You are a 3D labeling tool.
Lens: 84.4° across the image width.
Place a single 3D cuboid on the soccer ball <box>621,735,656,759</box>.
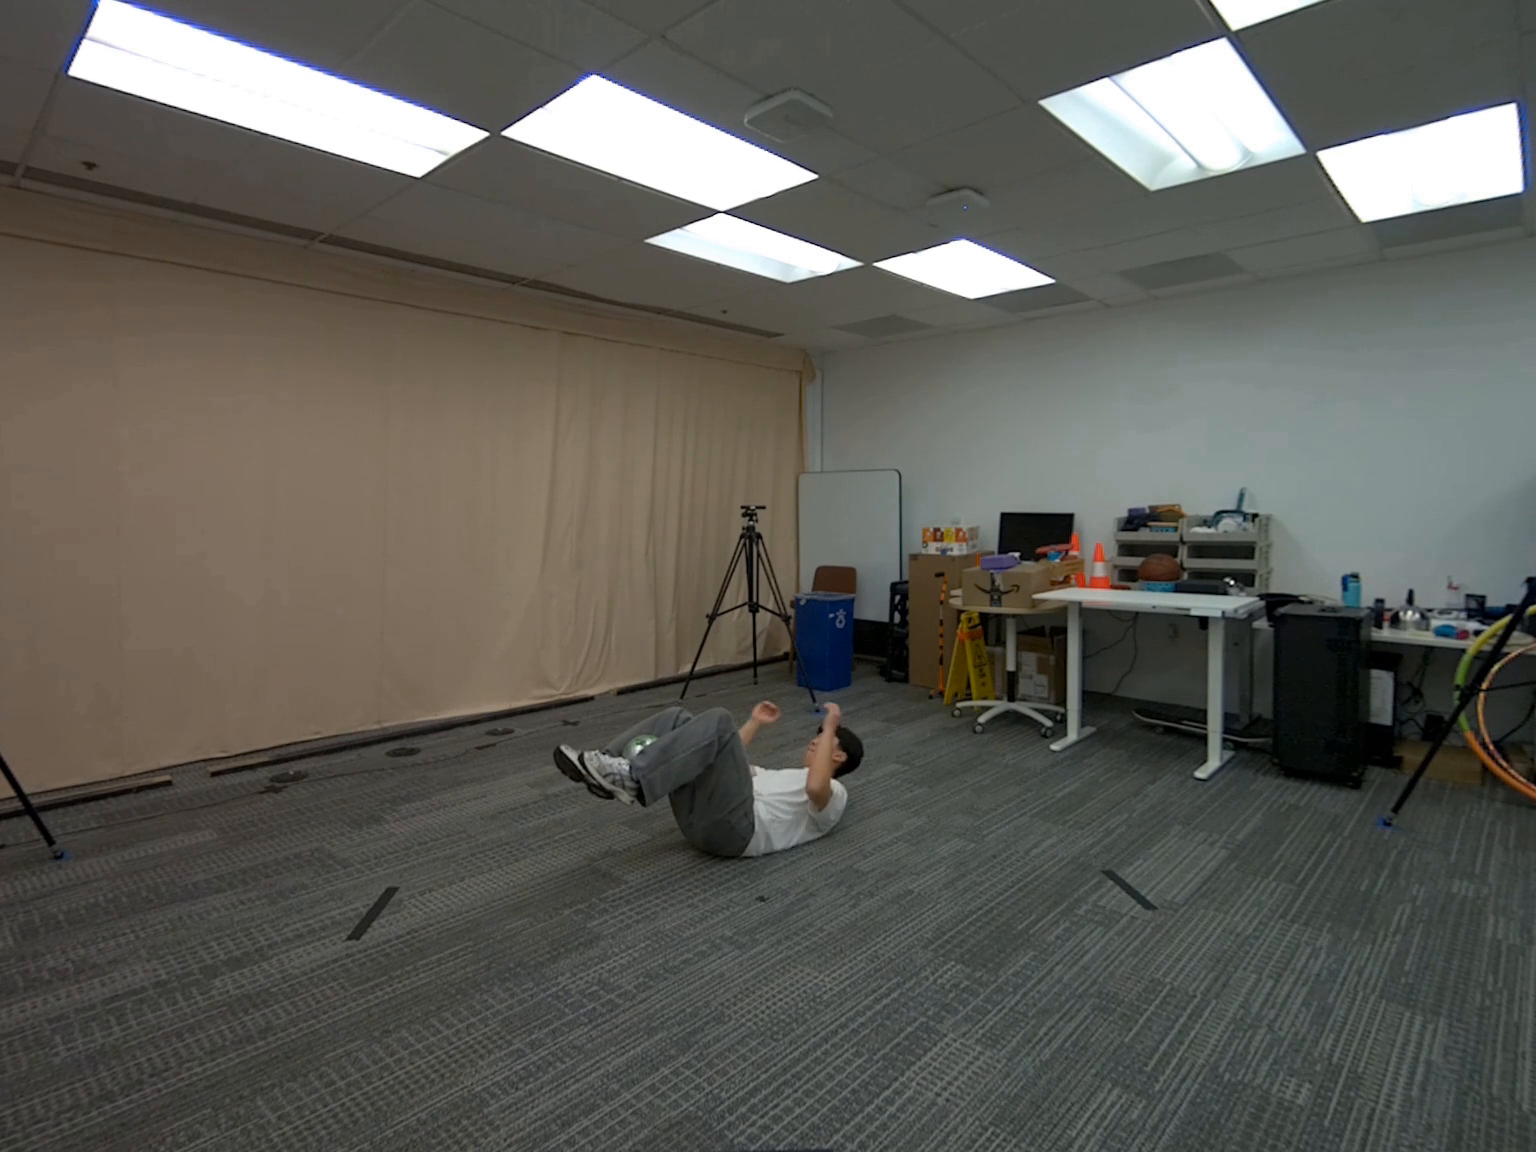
[{"bbox_3d":[-0.469,0.714,3.236,0.187,0.187,0.188,0,4,-2],"label":"soccer ball"}]
